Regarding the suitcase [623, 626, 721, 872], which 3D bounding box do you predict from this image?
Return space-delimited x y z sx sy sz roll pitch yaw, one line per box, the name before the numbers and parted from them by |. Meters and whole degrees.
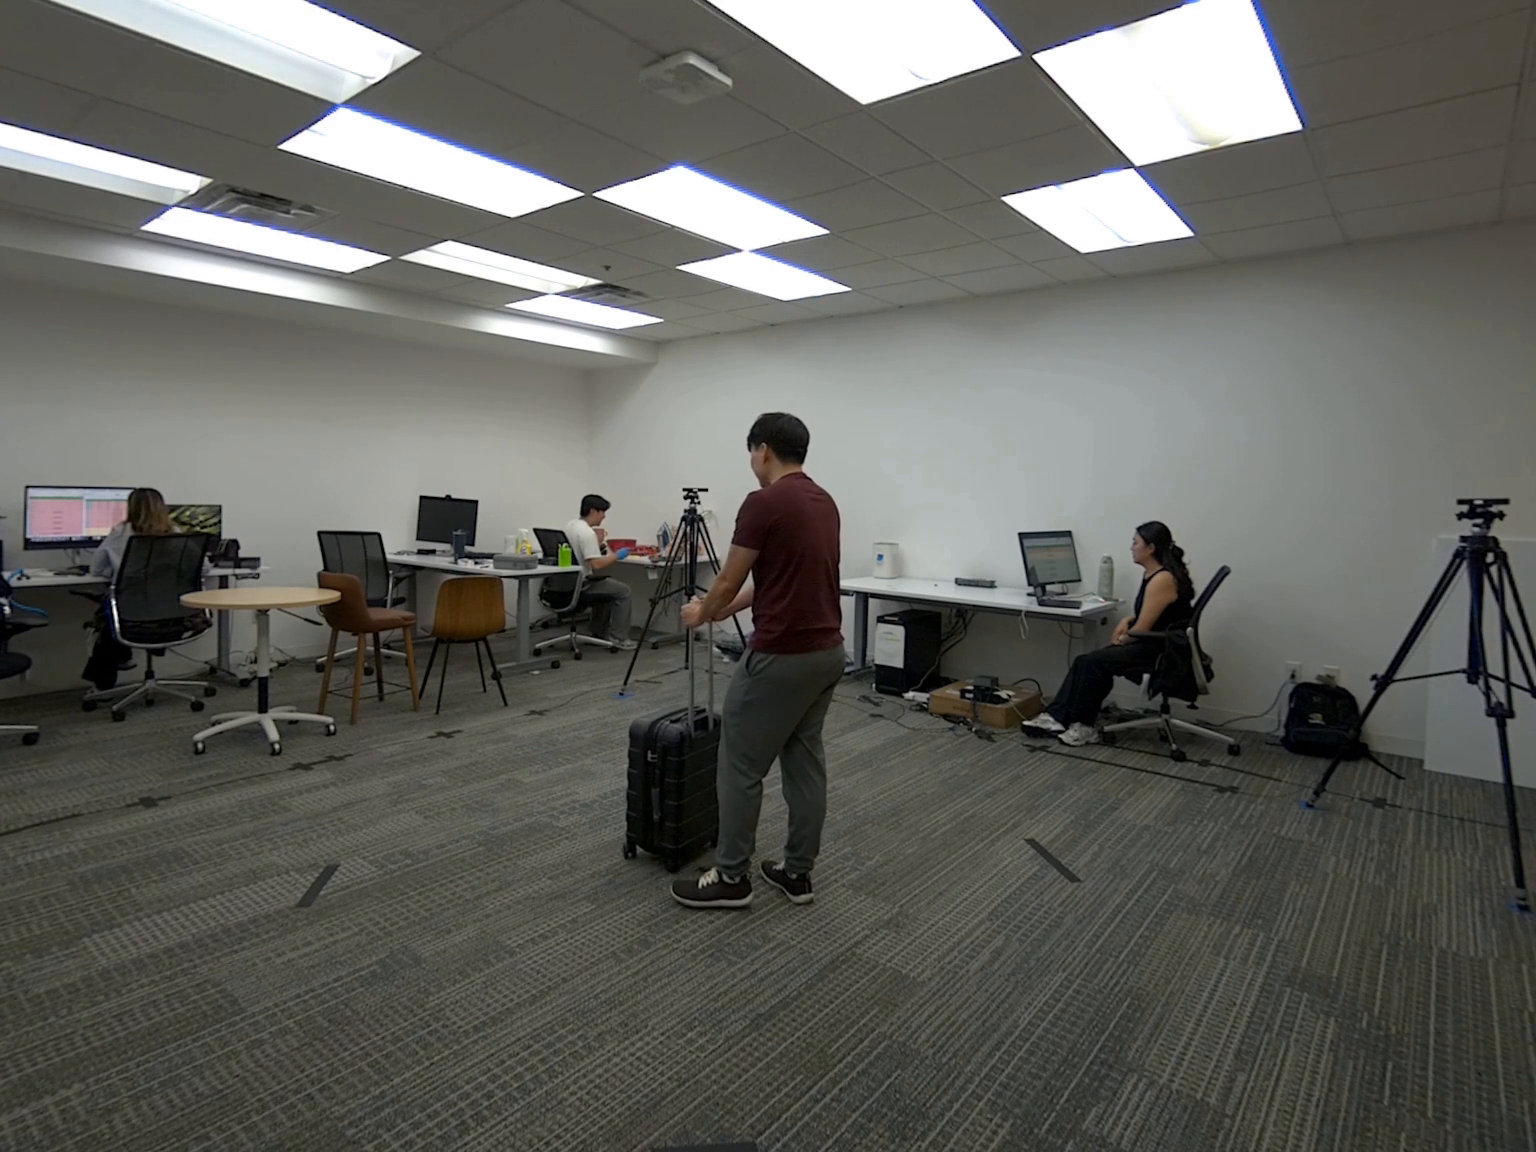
suitcase | -0.362 0.581 3.225 0.265 0.976 0.374 1 3 31
